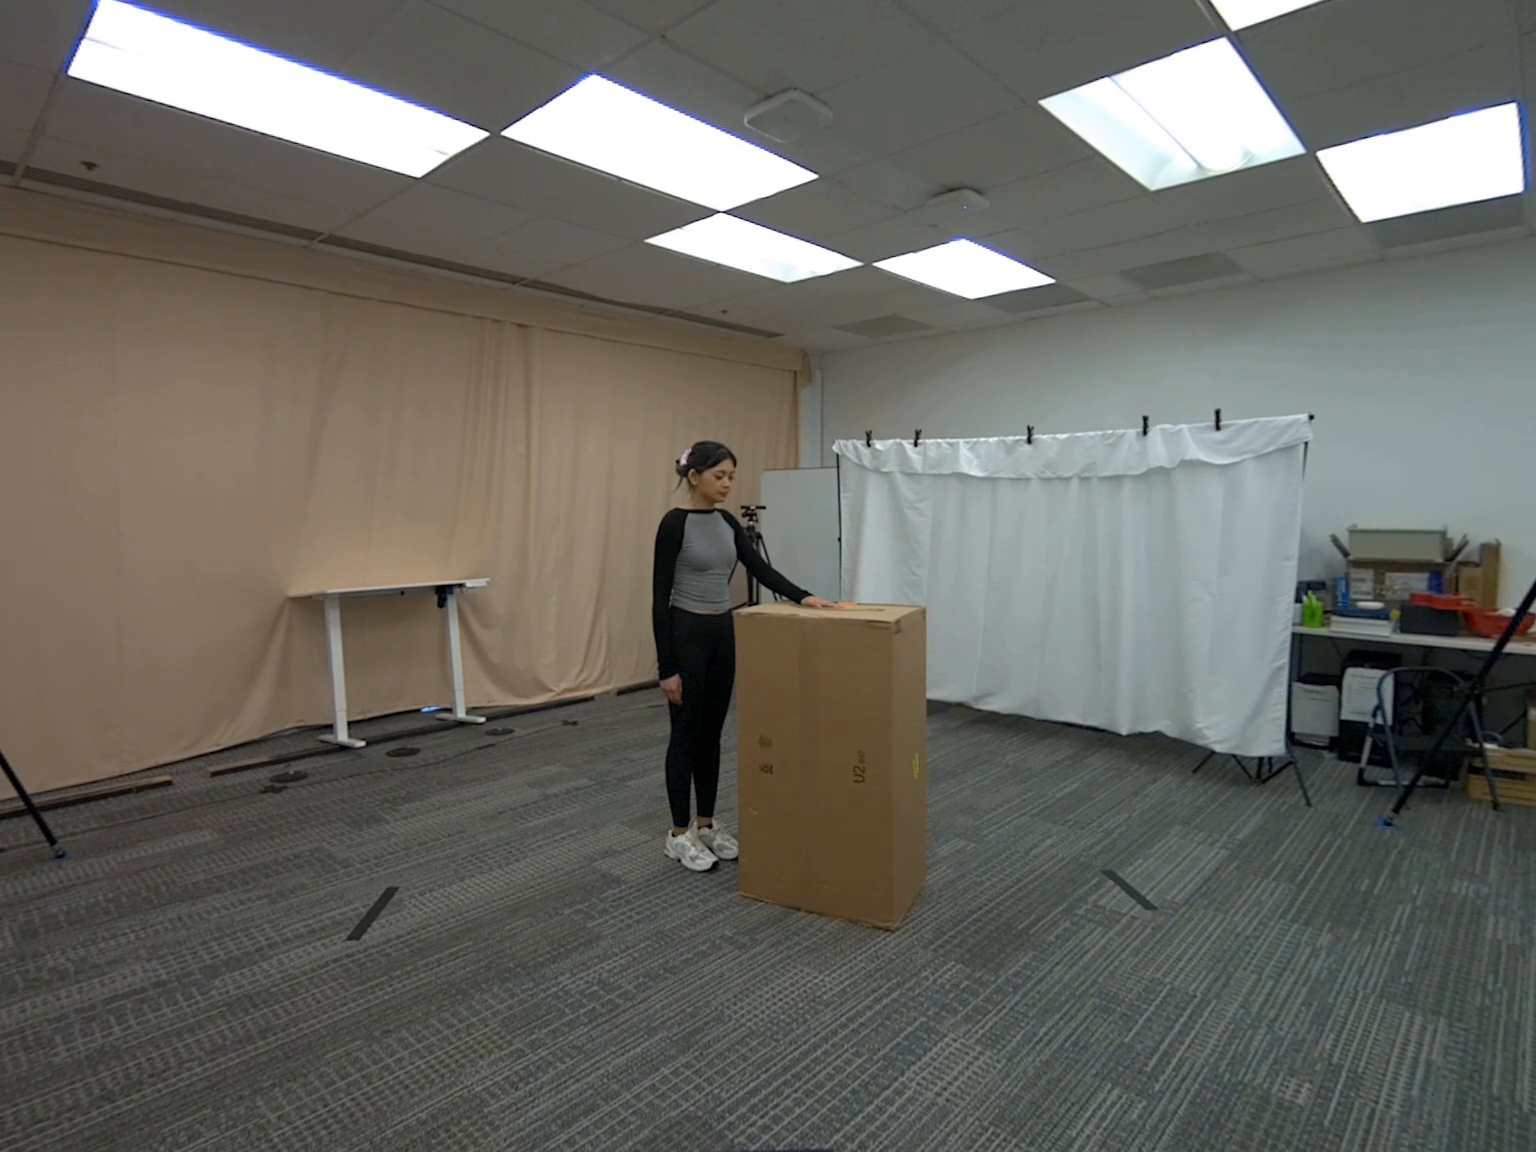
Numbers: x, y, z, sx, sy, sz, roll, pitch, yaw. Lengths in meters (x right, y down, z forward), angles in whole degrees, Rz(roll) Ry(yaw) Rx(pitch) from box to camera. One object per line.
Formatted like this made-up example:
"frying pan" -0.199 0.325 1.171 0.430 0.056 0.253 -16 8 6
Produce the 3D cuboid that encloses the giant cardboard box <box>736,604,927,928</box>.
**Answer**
"giant cardboard box" 0.244 0.633 3.039 0.599 1.025 0.436 1 4 26
